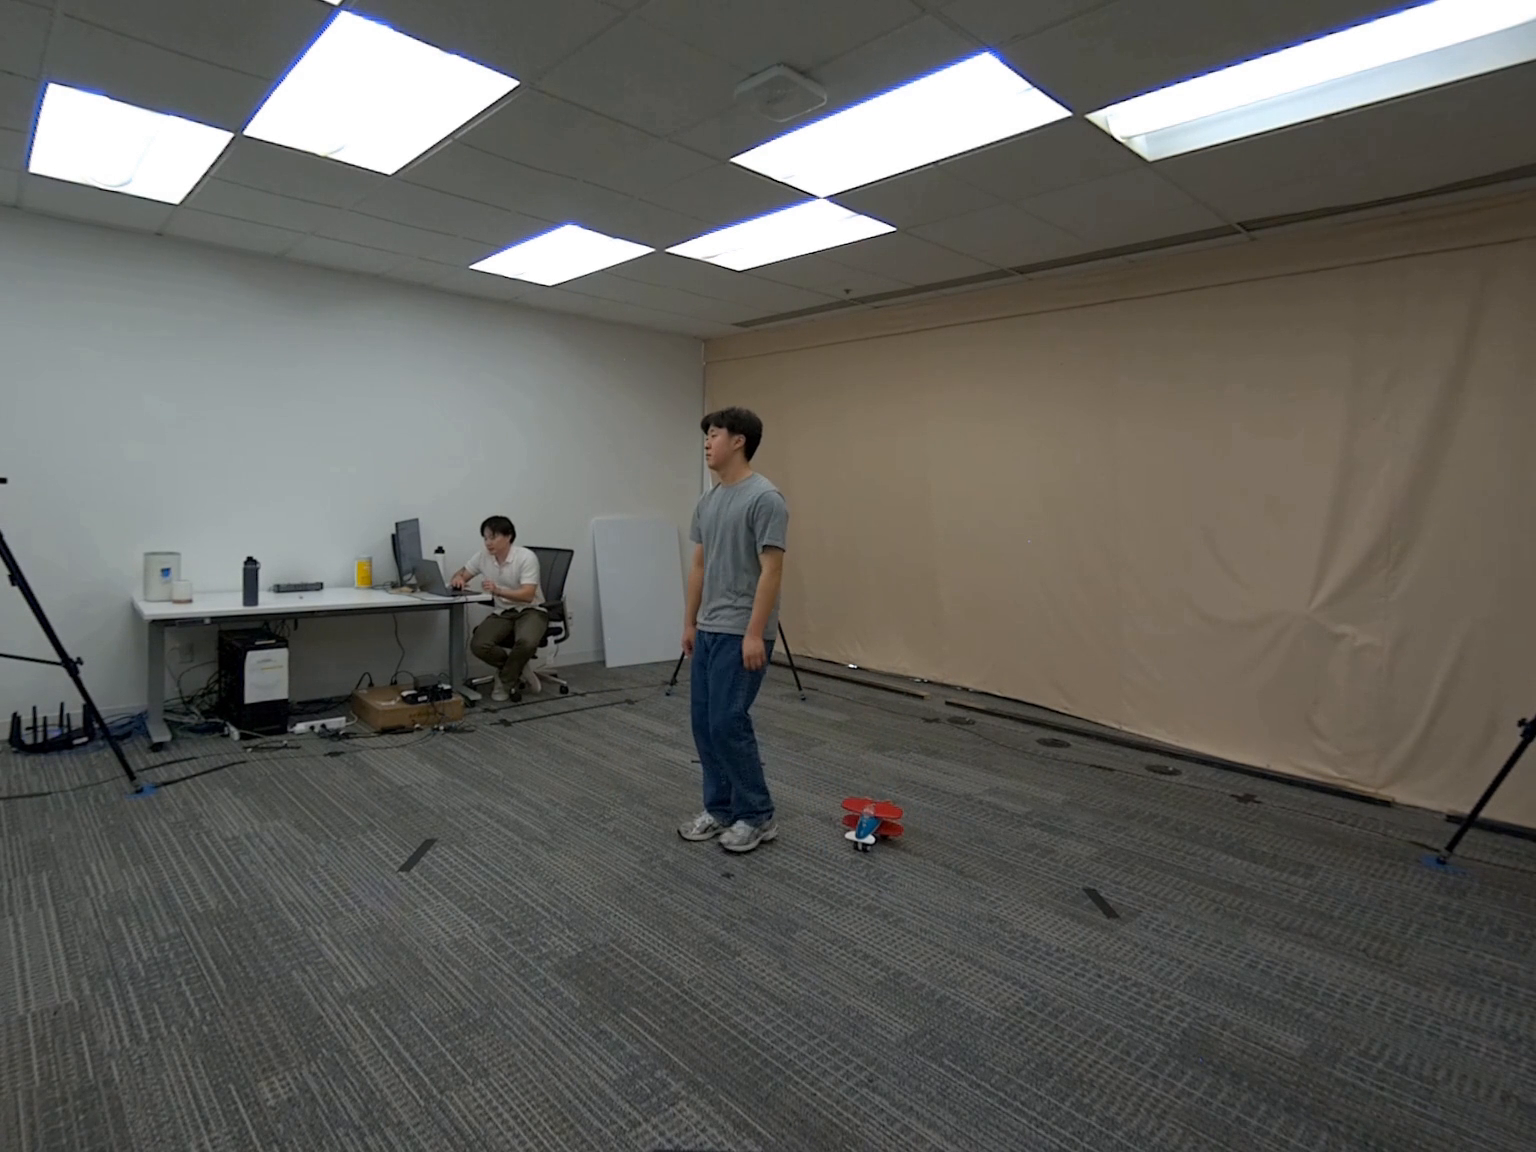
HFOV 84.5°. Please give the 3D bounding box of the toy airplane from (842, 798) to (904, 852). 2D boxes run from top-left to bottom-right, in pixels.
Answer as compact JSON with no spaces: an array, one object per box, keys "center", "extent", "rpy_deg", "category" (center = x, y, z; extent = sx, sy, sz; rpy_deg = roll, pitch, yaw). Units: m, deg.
[{"center":[0.418,1.016,3.427],"extent":[0.251,0.156,0.260],"rpy_deg":[2,3,-2],"category":"toy airplane"}]
